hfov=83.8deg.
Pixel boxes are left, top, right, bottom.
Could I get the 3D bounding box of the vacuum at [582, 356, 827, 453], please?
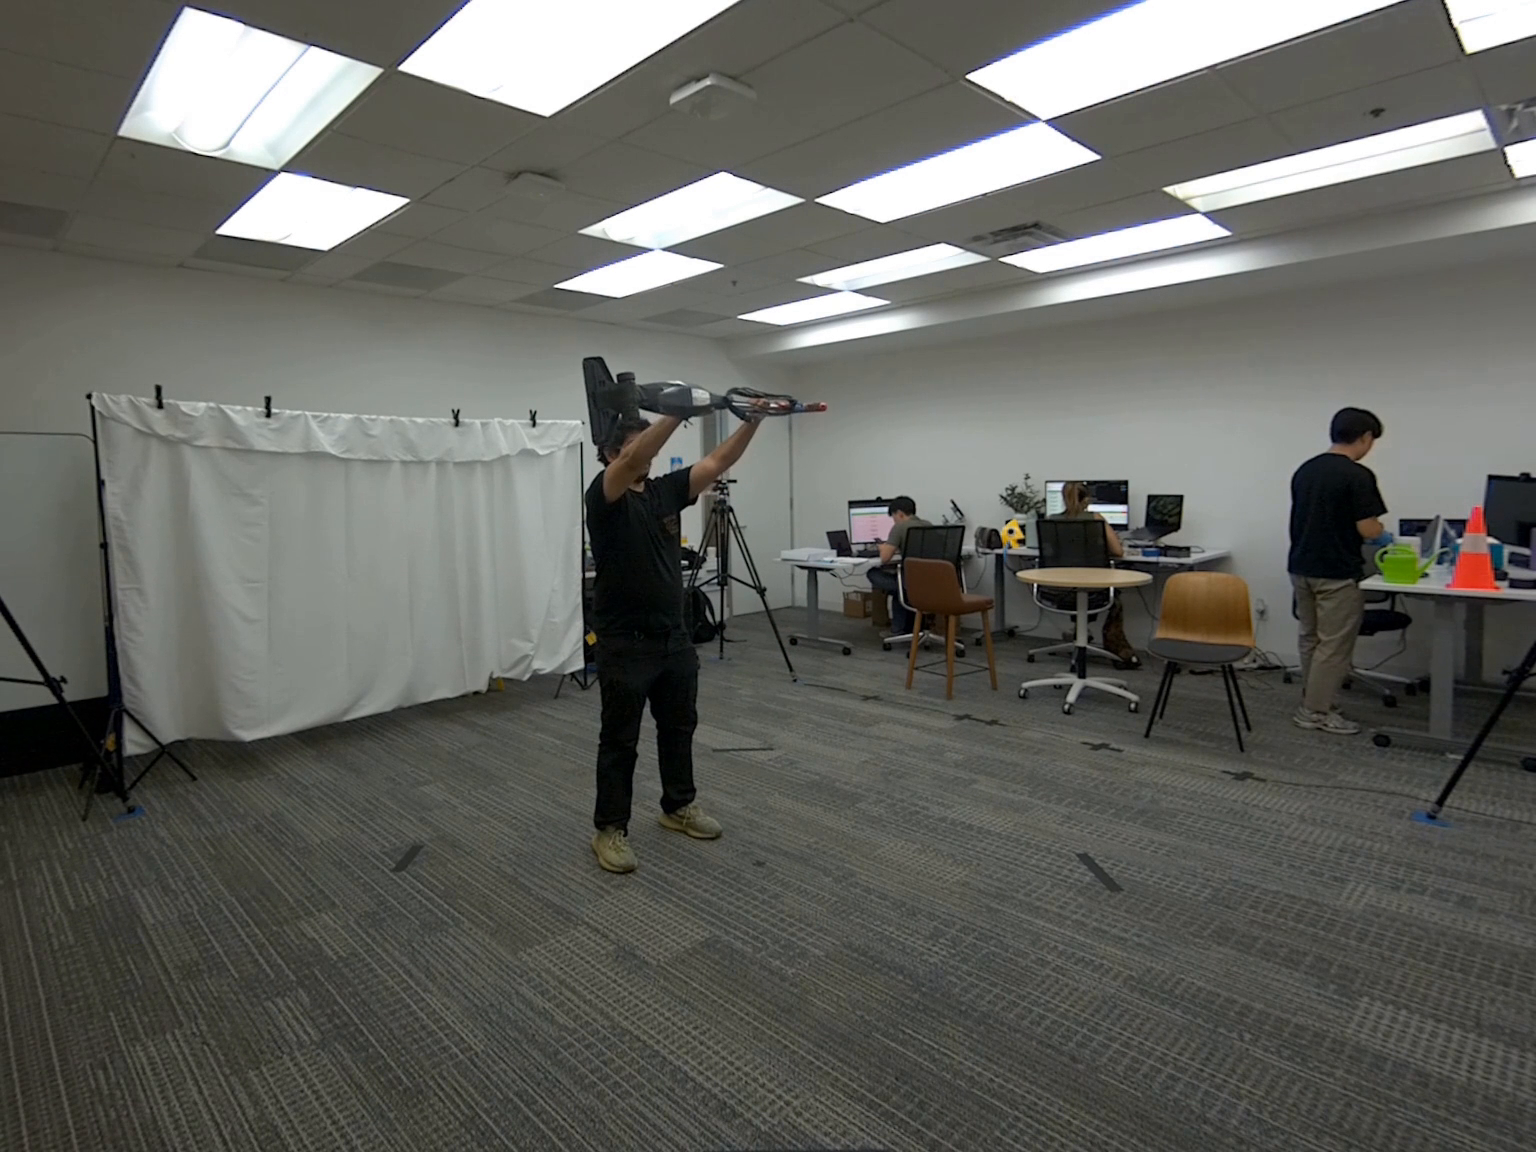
[{"bbox_3d":[-0.119,-0.570,2.819,0.147,0.253,1.024,-11,0,41],"label":"vacuum"}]
